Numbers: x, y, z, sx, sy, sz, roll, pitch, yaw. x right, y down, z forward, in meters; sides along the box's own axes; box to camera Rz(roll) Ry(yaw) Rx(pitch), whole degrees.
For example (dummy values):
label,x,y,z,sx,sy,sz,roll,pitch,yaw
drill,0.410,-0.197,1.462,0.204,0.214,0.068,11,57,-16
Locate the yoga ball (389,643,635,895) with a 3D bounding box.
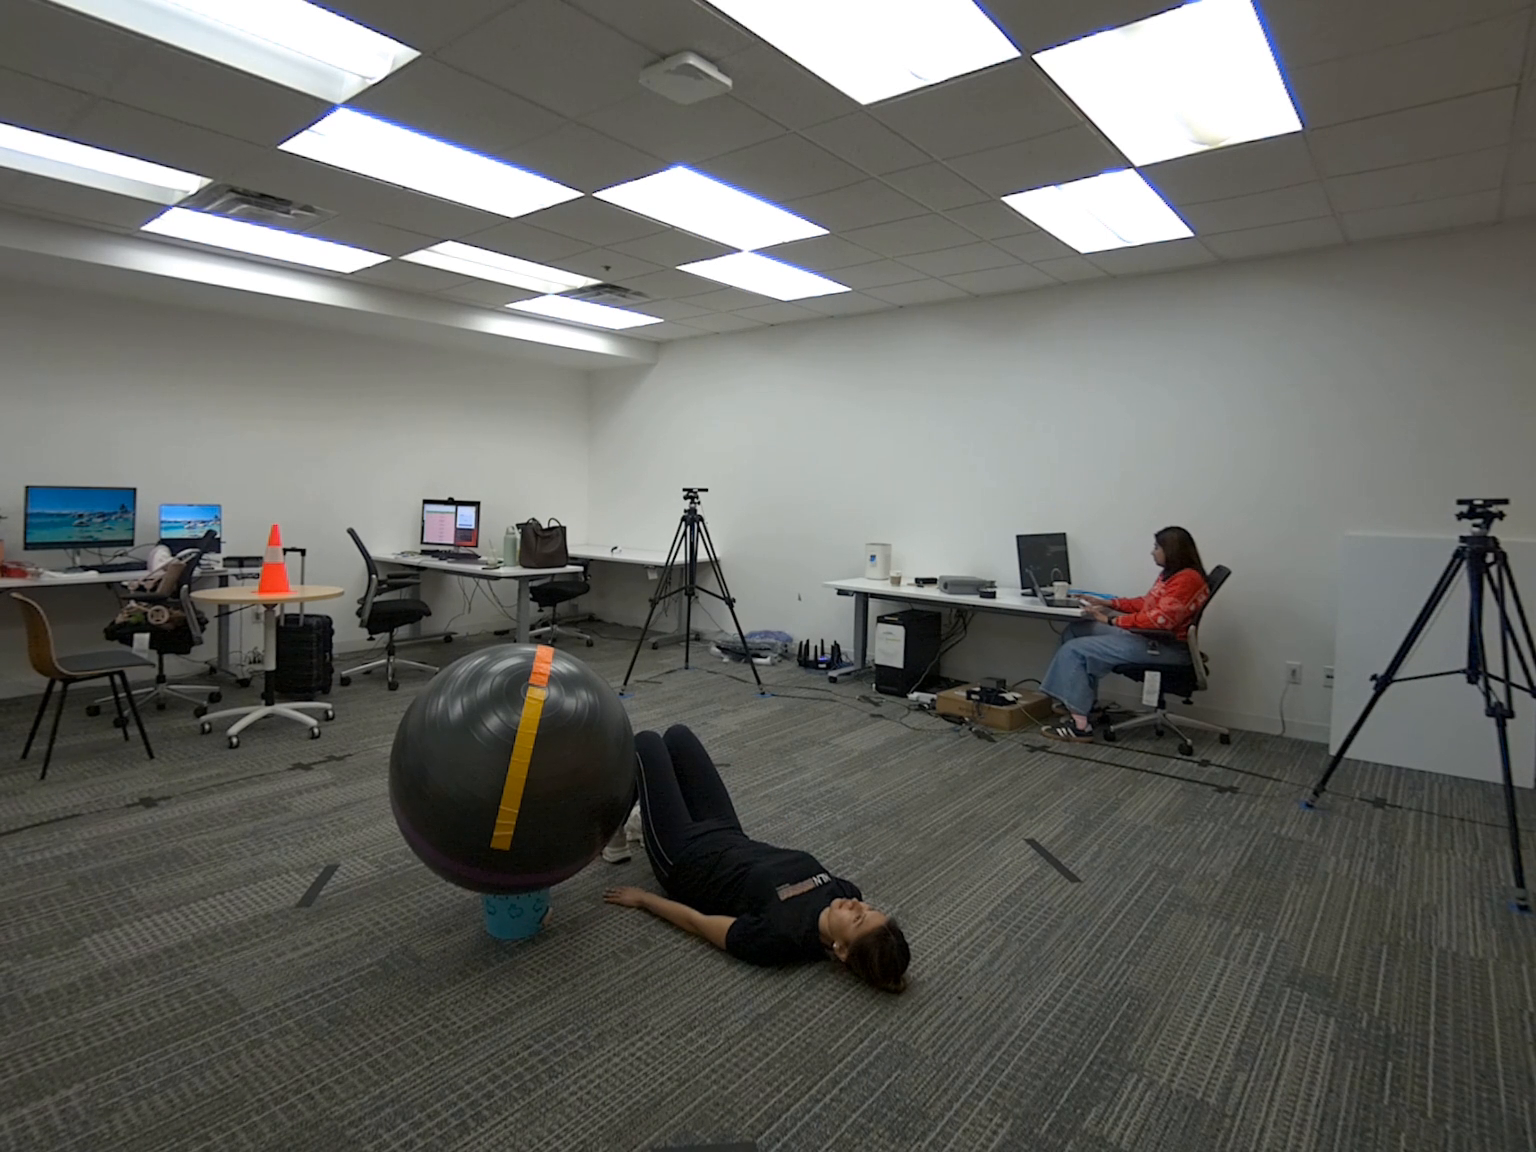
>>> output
label,x,y,z,sx,sy,sz,roll,pitch,yaw
yoga ball,-0.802,0.595,2.666,0.757,0.756,0.761,-3,3,-2
